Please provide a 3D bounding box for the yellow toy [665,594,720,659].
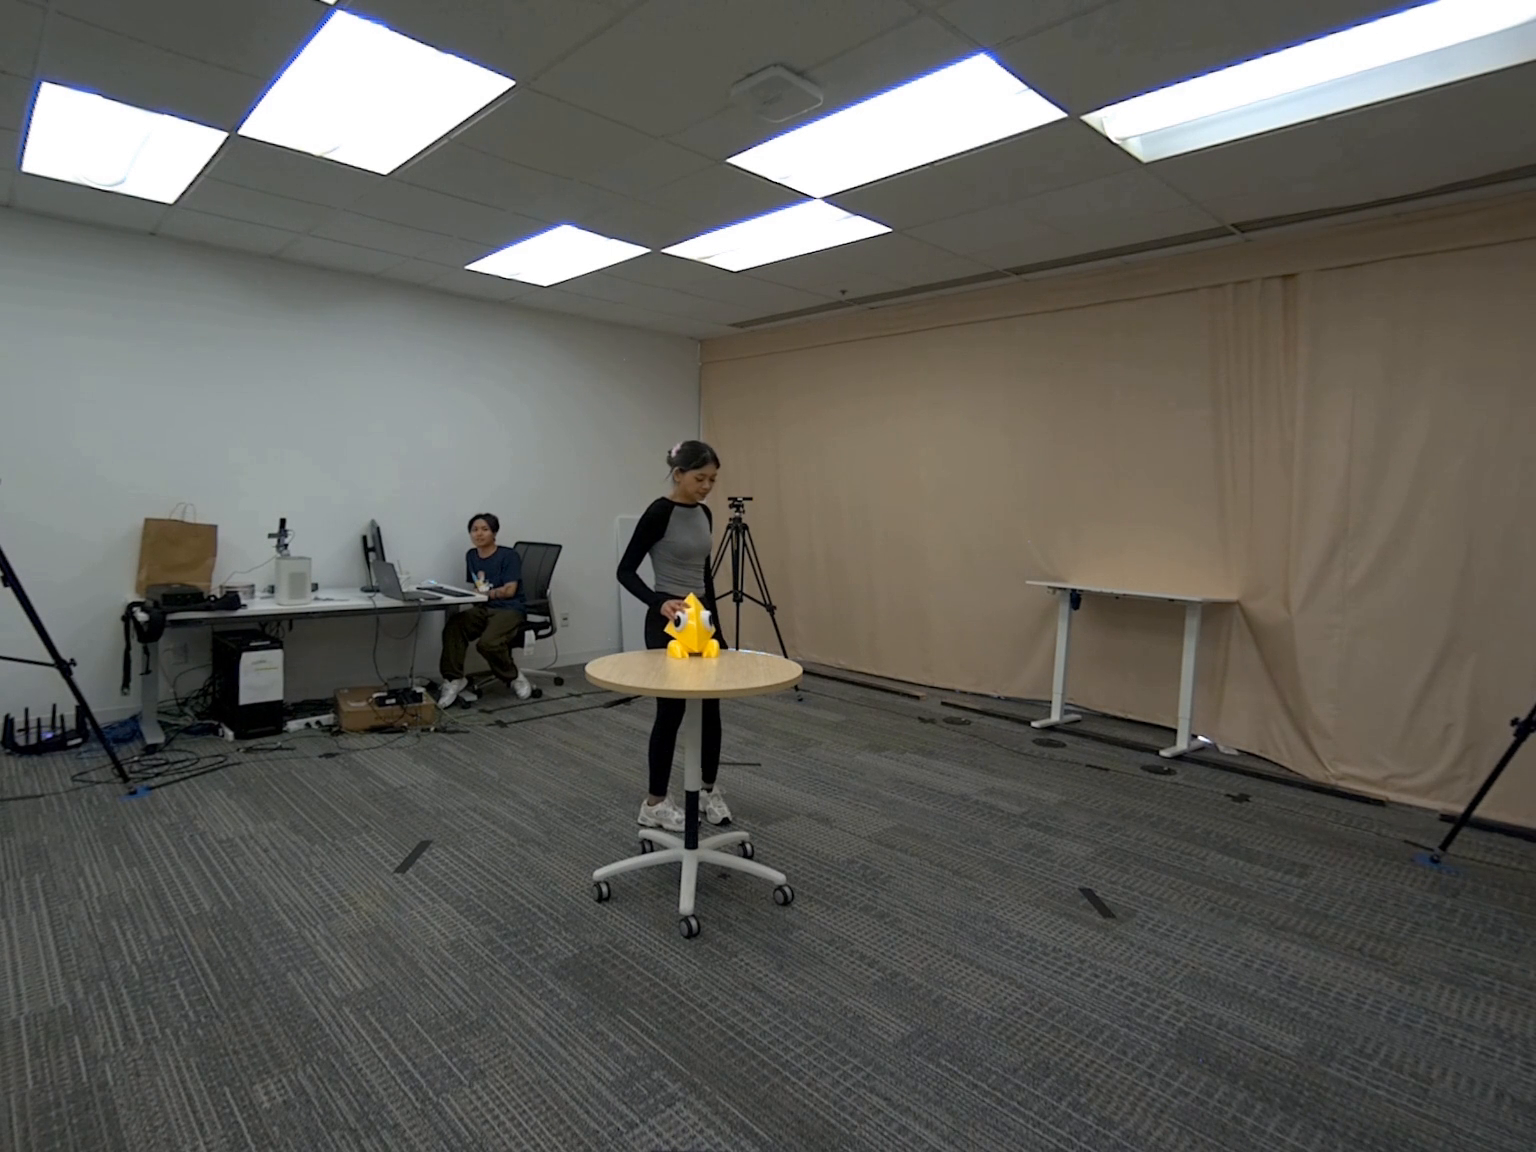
[{"bbox_3d":[-0.294,0.187,3.233,0.203,0.230,0.195,0,3,-12],"label":"yellow toy"}]
